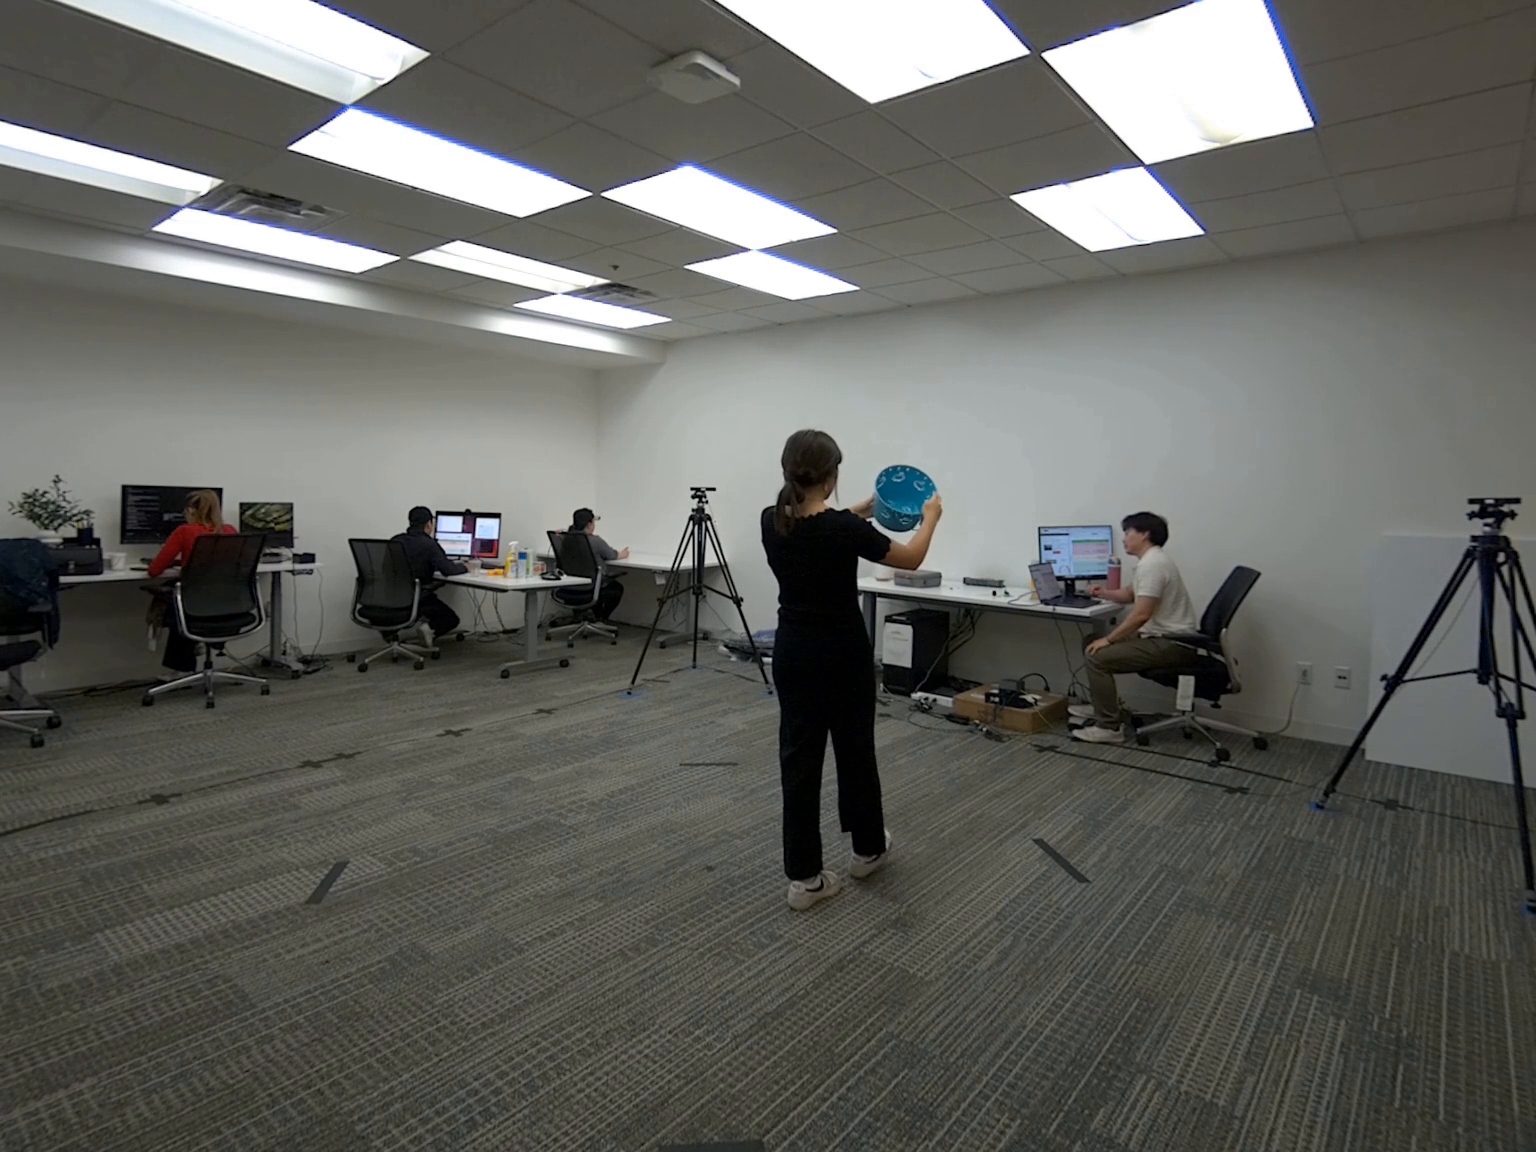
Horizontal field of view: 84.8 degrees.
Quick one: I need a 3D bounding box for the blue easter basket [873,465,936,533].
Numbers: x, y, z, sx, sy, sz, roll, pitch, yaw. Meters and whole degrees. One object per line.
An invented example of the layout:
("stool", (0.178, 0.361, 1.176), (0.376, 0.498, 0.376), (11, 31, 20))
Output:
("blue easter basket", (0.494, -0.279, 3.192), (0.242, 0.250, 0.152), (0, -32, -6))
